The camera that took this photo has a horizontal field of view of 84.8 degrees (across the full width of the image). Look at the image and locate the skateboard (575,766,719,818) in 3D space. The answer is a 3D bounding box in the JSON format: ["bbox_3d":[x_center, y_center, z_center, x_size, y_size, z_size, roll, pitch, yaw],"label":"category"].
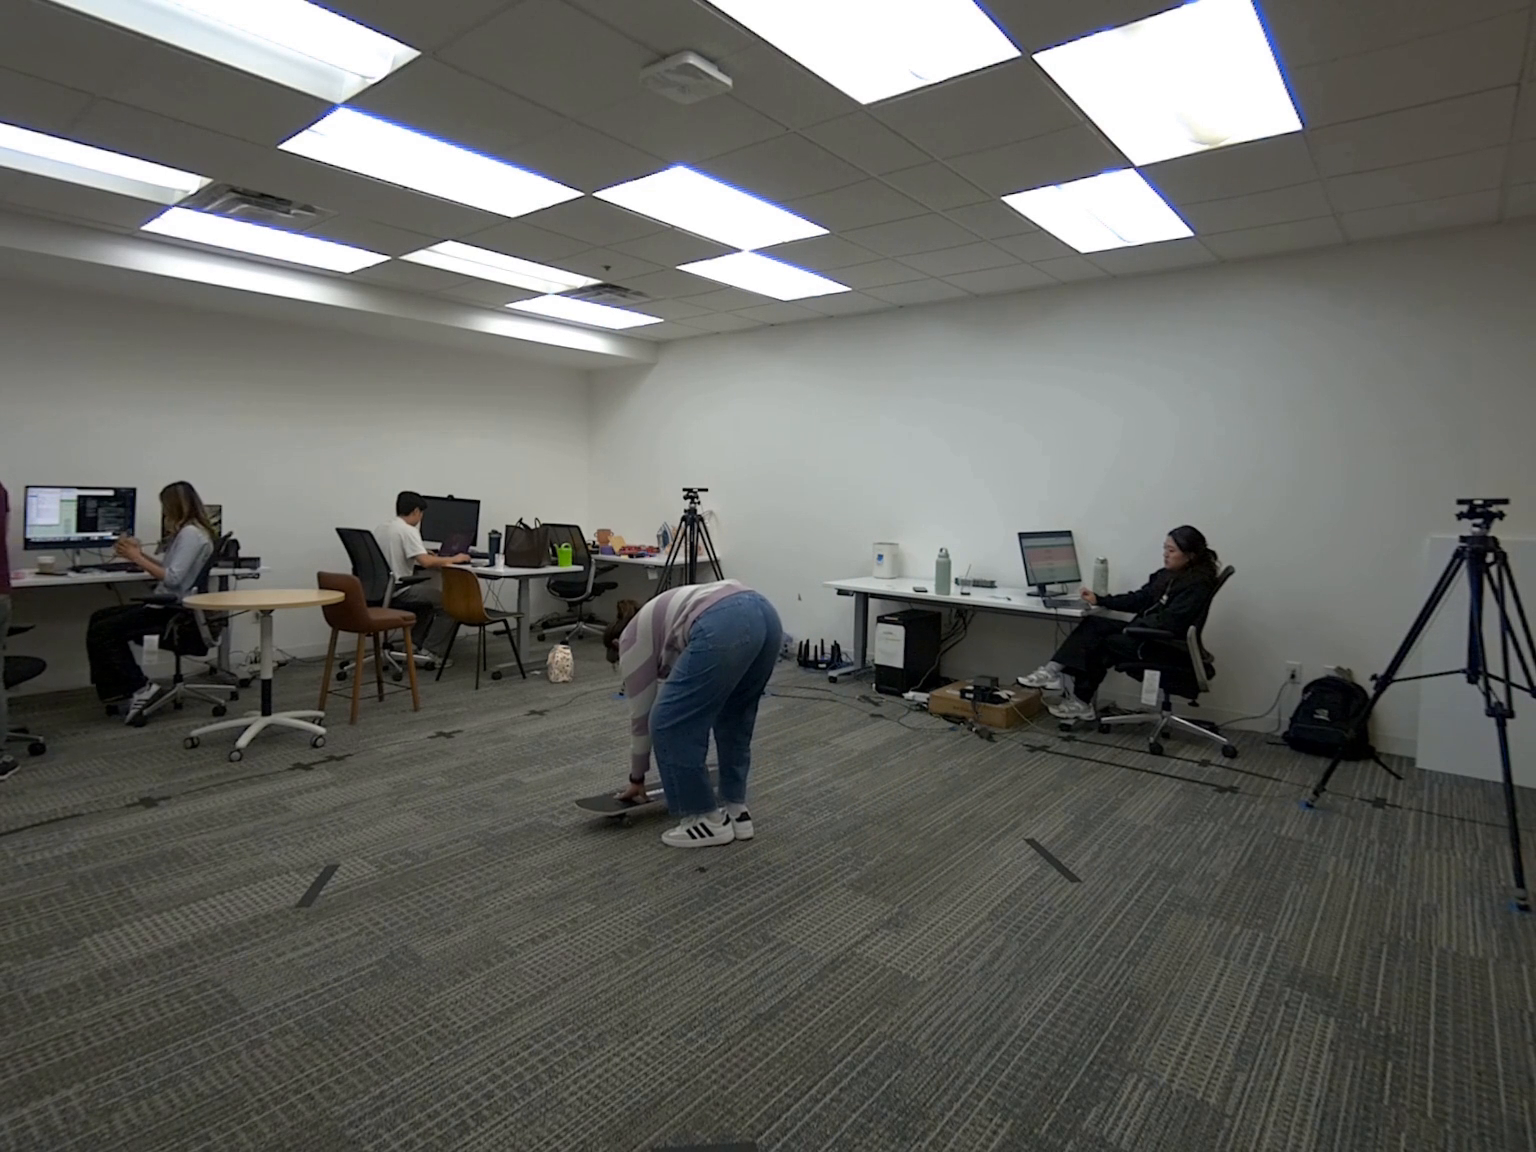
[{"bbox_3d":[-0.484,0.958,3.655,0.762,0.110,0.200,-3,6,-37],"label":"skateboard"}]
